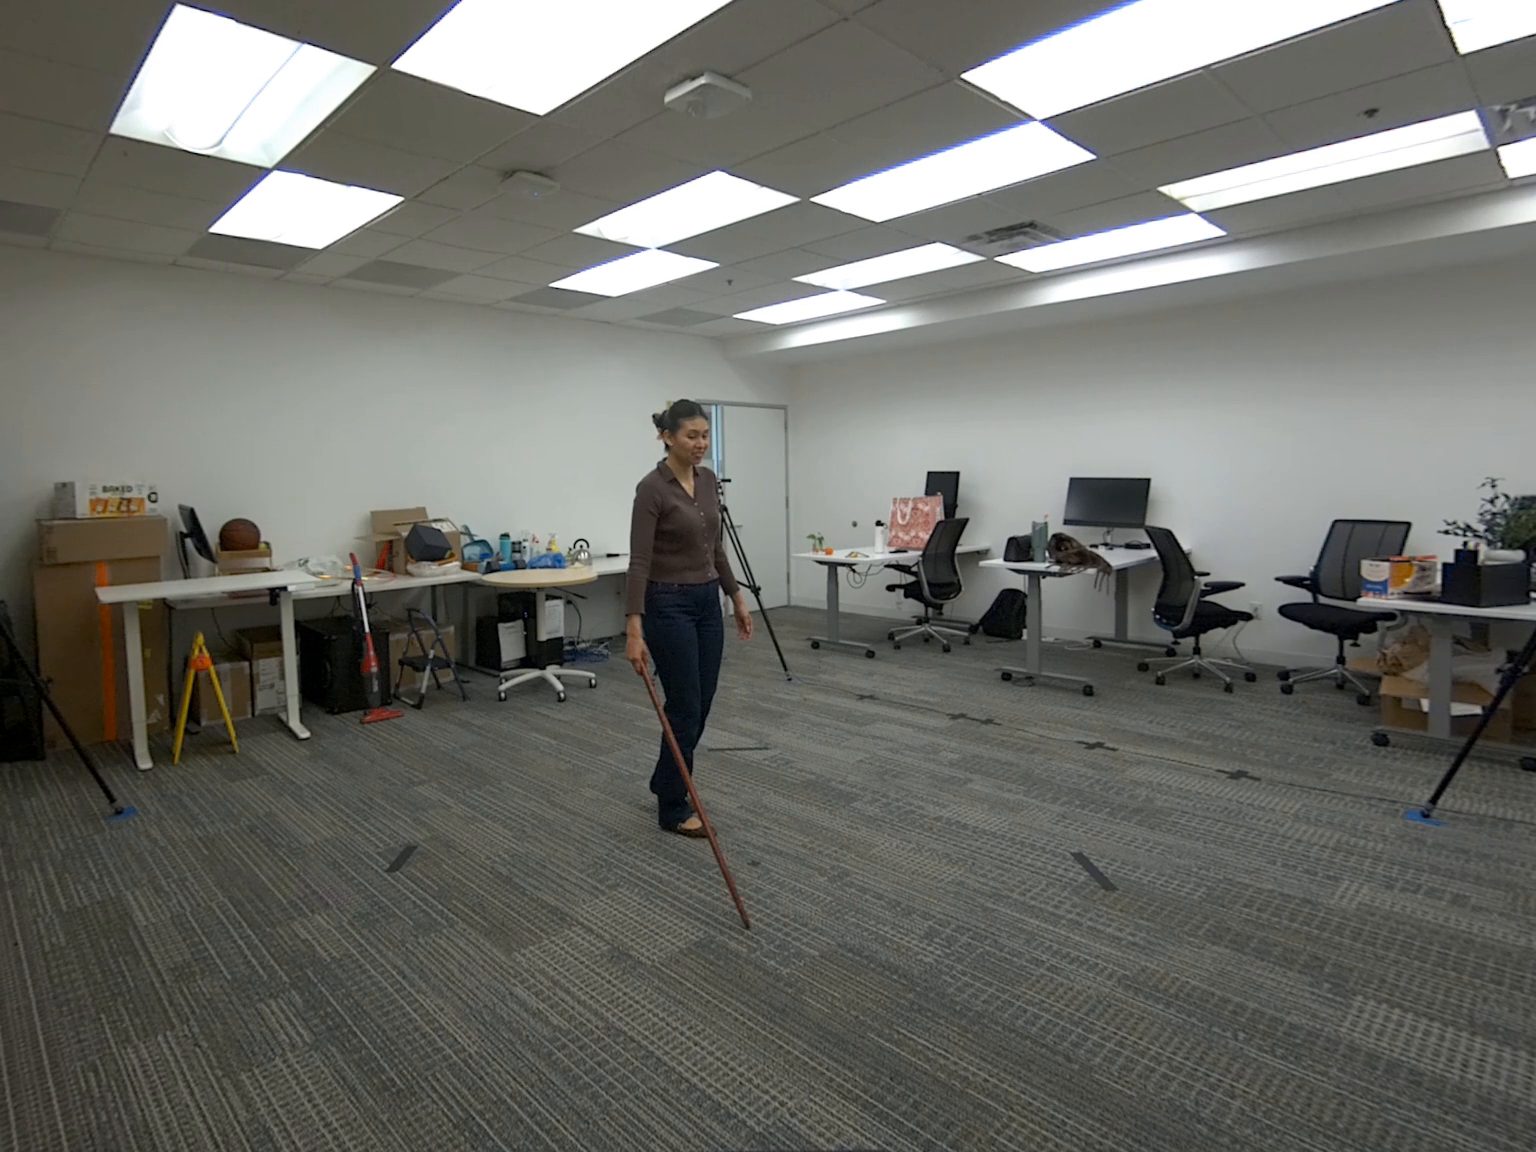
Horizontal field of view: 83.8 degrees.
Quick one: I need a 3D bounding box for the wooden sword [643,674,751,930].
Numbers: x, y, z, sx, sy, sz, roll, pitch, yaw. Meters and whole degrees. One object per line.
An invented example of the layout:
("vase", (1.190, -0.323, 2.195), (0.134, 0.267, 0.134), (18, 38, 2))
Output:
("wooden sword", (-0.267, 0.671, 2.879), (0.024, 1.056, 0.050), (-30, -26, 4))
